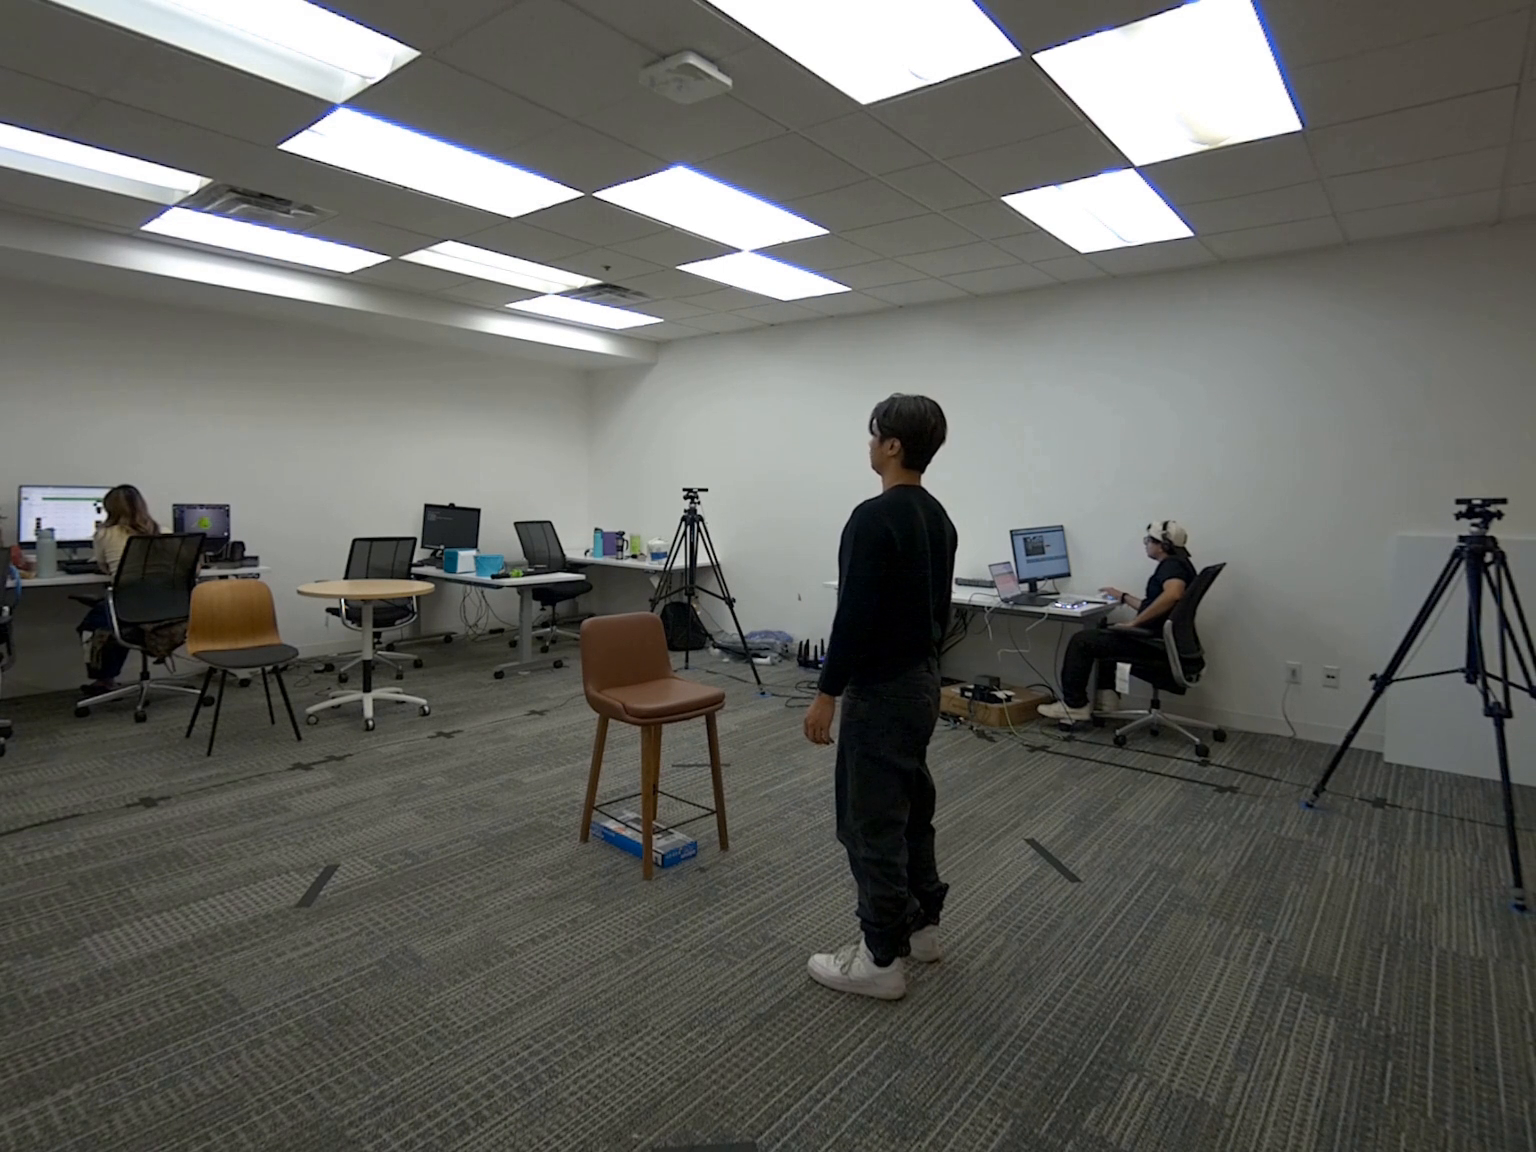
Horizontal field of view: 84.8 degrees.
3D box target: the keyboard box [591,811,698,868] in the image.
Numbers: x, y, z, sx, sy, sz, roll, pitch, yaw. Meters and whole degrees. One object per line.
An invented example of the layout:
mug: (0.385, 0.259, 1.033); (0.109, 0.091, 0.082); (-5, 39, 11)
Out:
keyboard box: (-0.504, 1.018, 3.314); (0.452, 0.059, 0.171); (7, 8, 43)
